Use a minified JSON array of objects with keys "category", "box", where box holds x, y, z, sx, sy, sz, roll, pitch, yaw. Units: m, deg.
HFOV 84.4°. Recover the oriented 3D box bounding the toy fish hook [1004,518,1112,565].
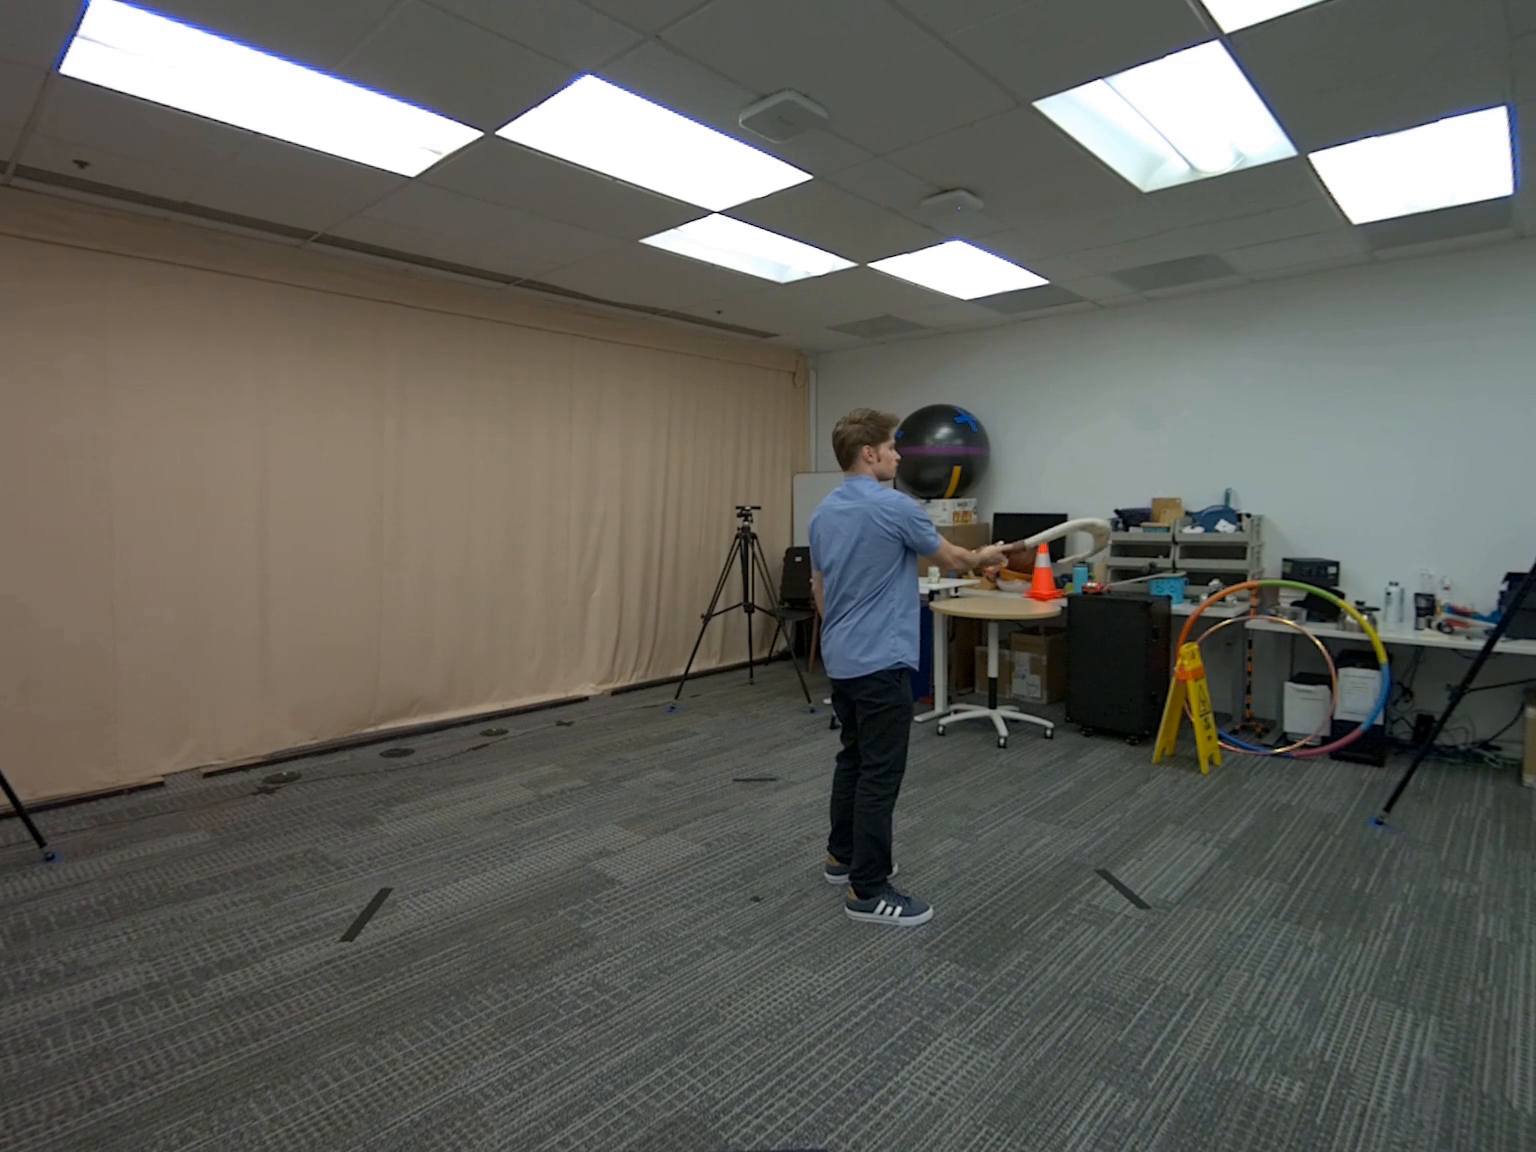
[{"category":"toy fish hook","box":[1.032,-0.094,3.158,0.513,0.218,0.049,-14,36,13]}]
